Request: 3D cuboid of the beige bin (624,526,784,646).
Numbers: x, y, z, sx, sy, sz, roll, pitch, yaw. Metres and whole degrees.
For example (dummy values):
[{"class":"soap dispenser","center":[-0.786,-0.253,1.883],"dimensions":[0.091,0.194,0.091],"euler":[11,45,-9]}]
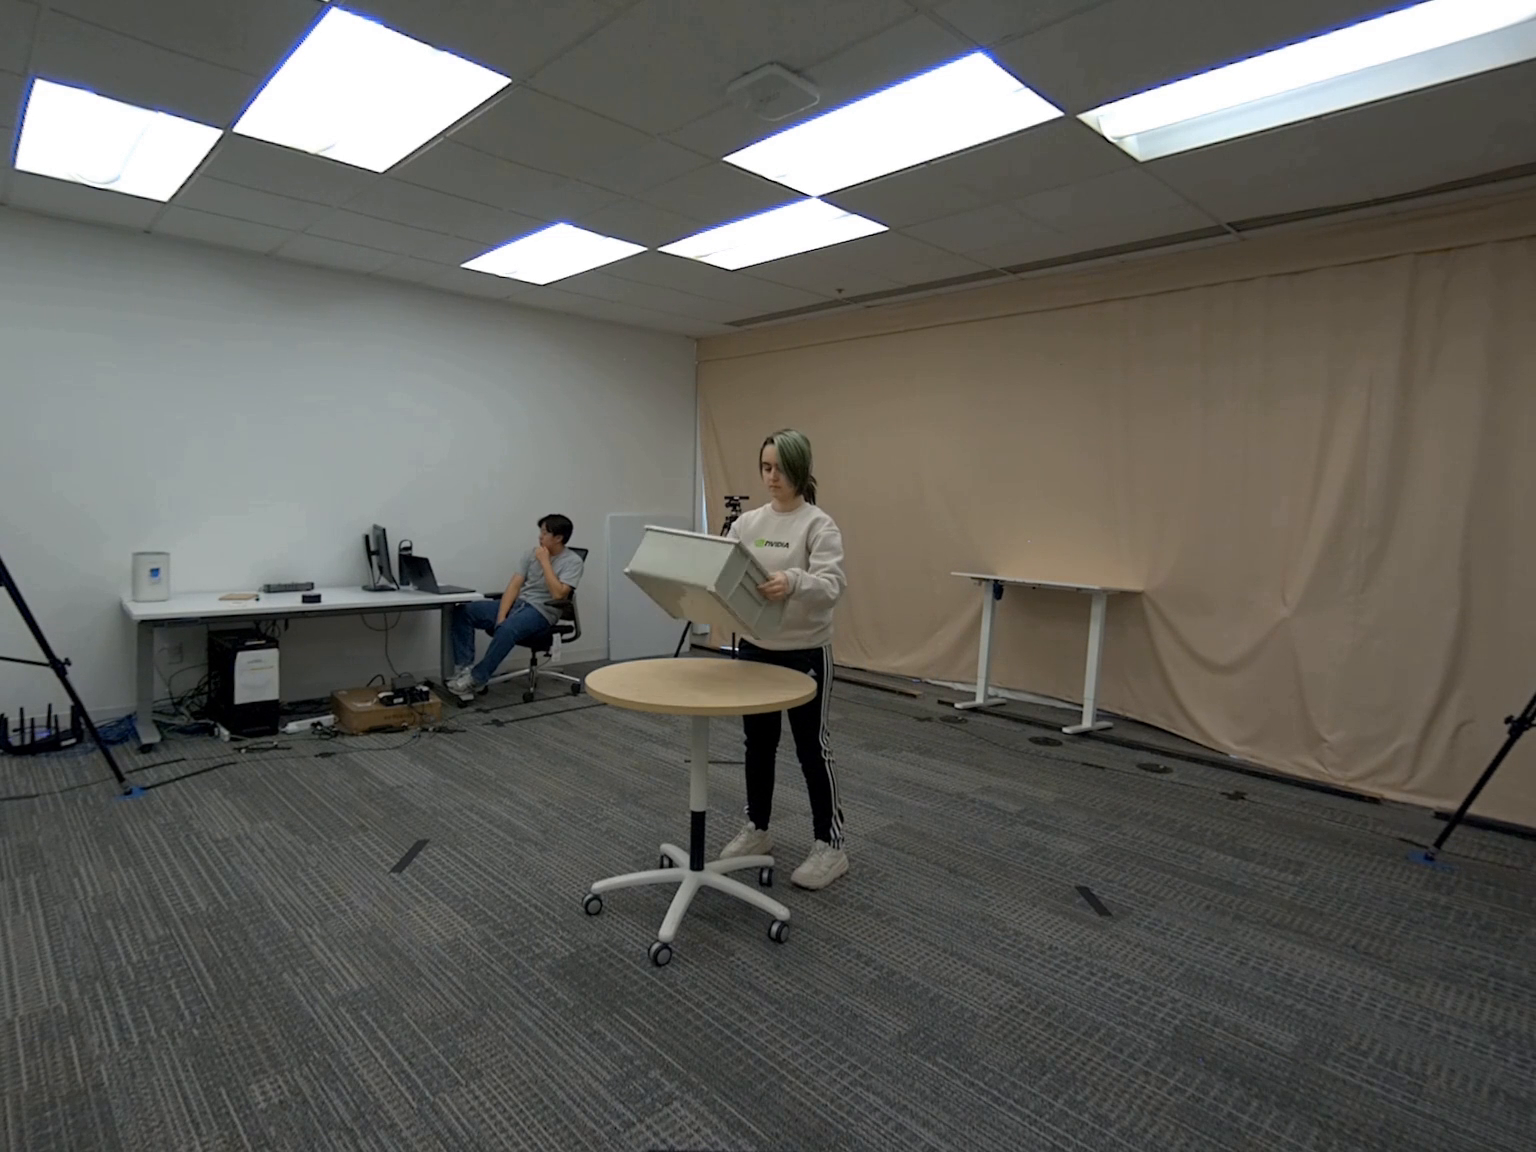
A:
[{"class":"beige bin","center":[-0.207,0.033,2.772],"dimensions":[0.434,0.190,0.365],"euler":[12,-26,40]}]
